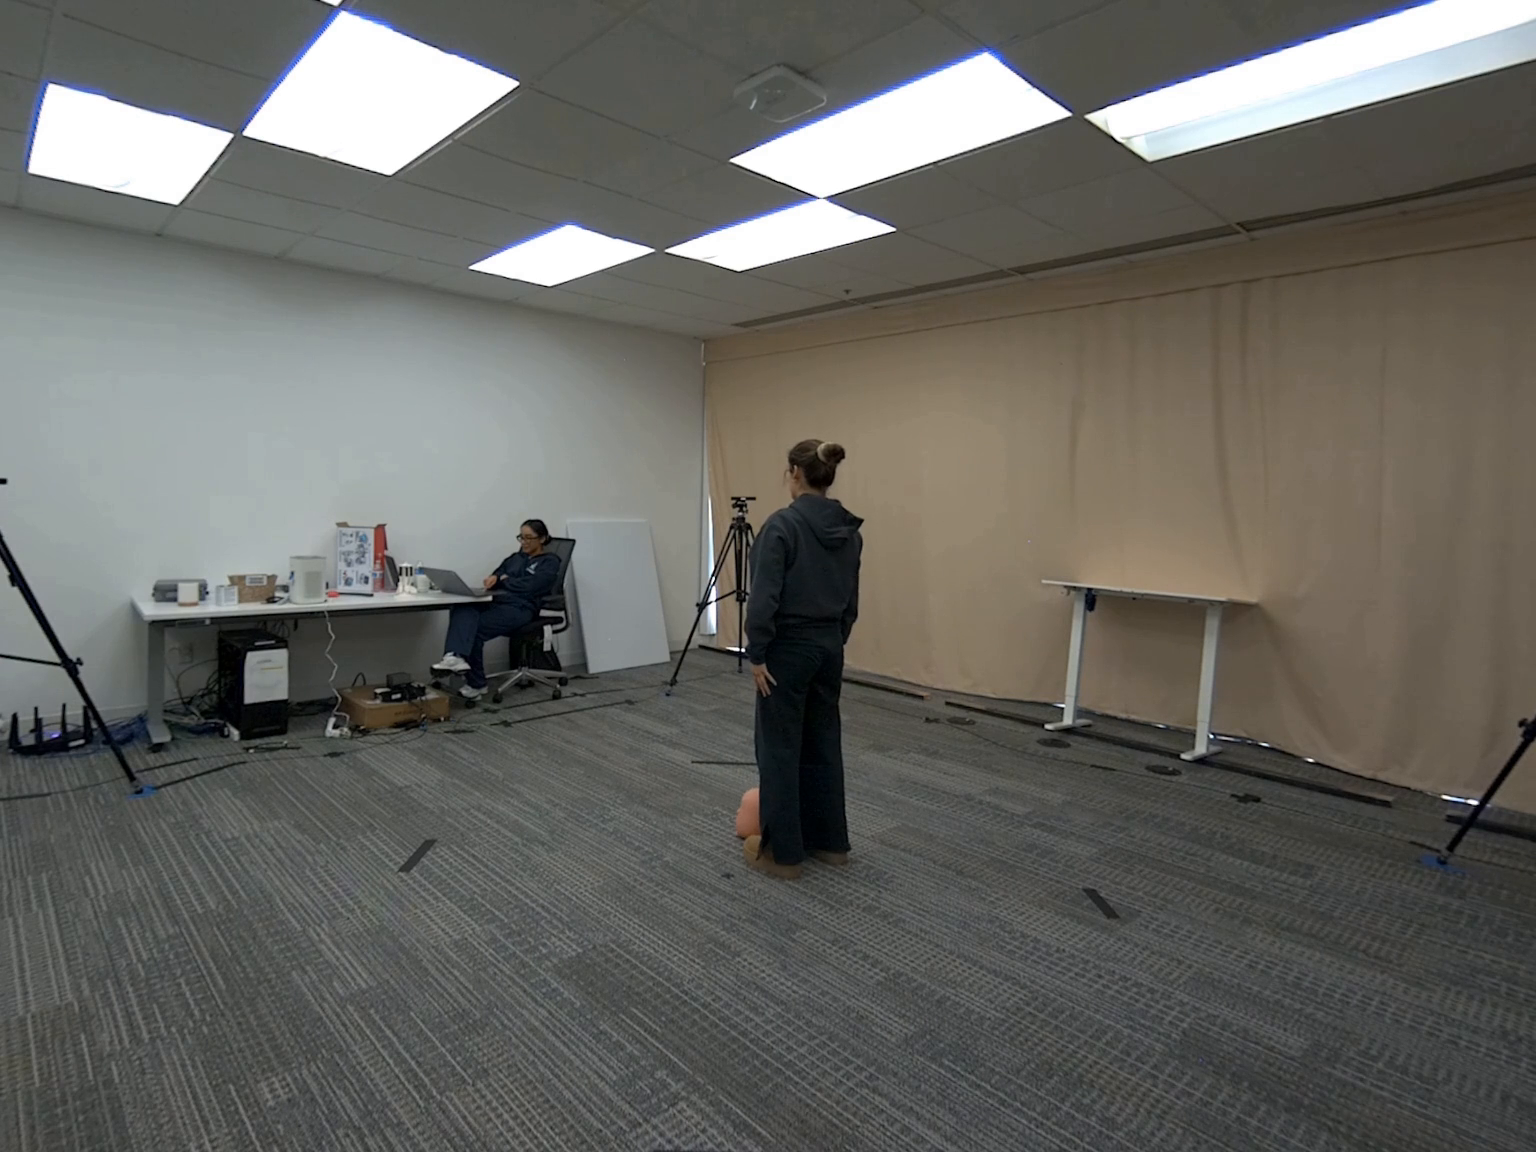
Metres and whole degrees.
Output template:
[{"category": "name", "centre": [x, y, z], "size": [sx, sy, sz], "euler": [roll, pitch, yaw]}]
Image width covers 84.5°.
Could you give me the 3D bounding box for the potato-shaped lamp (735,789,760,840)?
[{"category": "potato-shaped lamp", "centre": [-0.054, 0.964, 3.482], "size": [0.175, 0.198, 0.161], "euler": [1, 3, 40]}]
